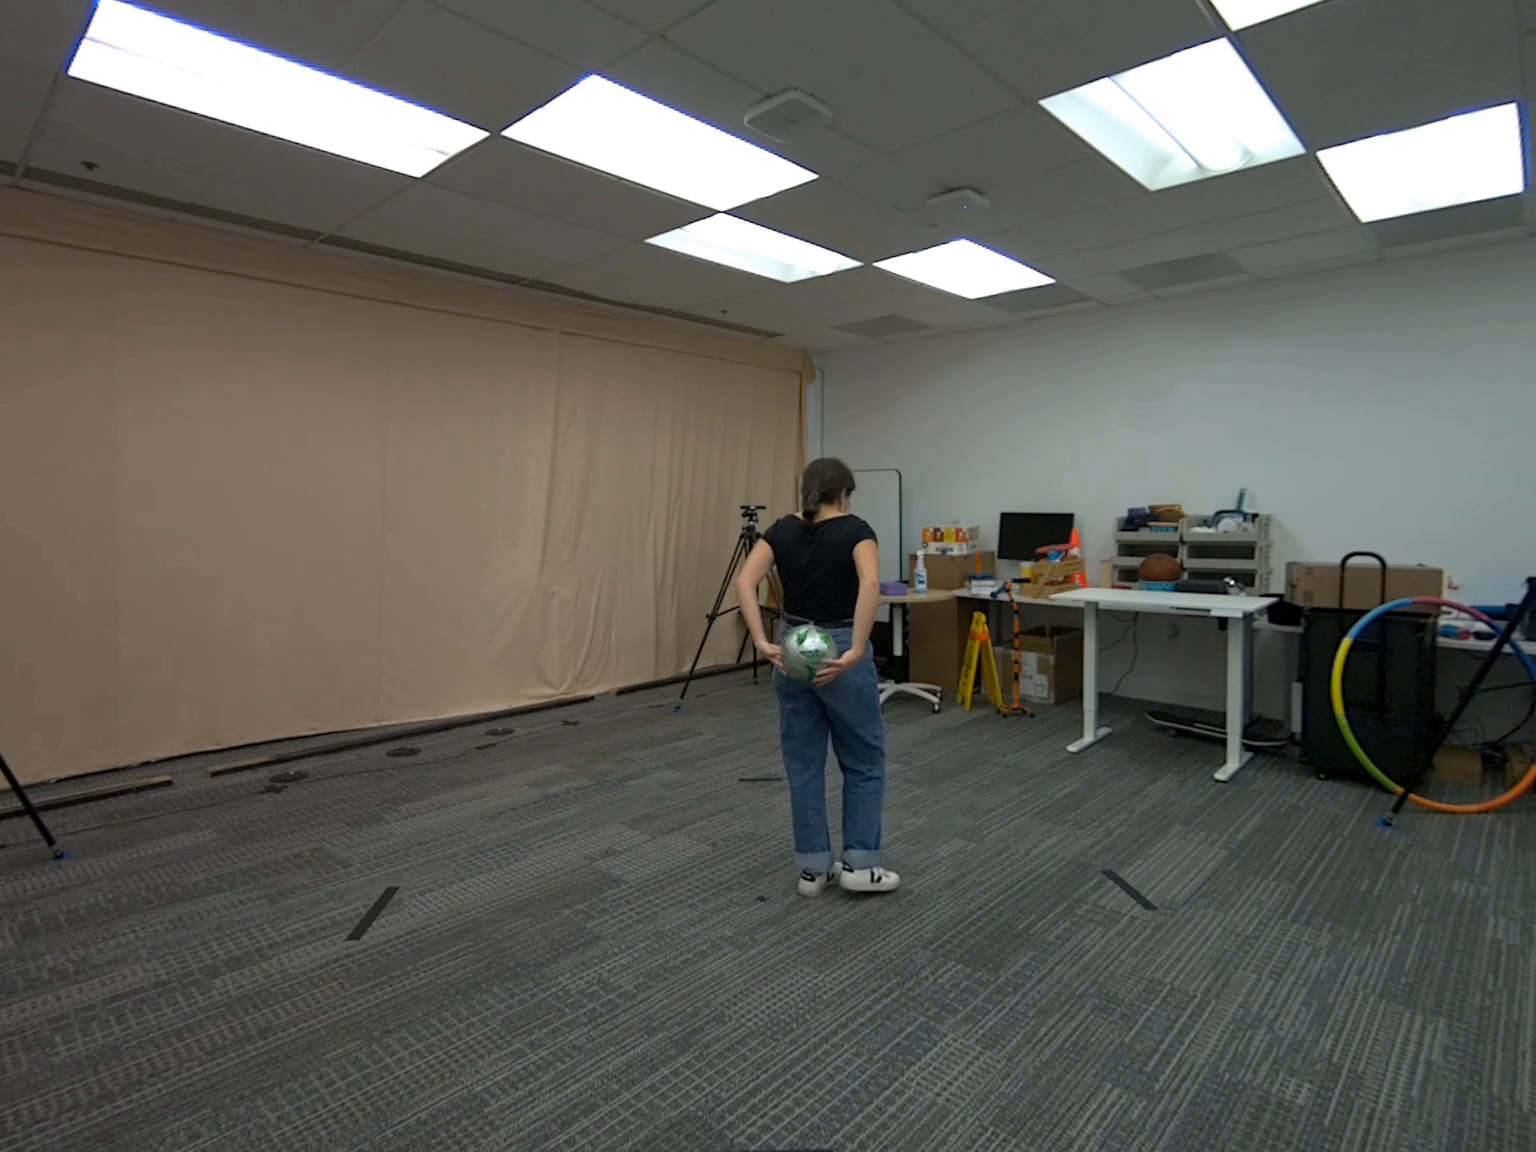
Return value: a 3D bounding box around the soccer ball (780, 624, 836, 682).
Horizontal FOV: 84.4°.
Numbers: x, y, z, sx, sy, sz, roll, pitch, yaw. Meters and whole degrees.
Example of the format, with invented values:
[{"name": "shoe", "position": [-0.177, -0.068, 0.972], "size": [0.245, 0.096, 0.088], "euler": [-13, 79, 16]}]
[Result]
[{"name": "soccer ball", "position": [0.127, 0.252, 2.749], "size": [0.187, 0.187, 0.188], "euler": [0, 4, -2]}]
